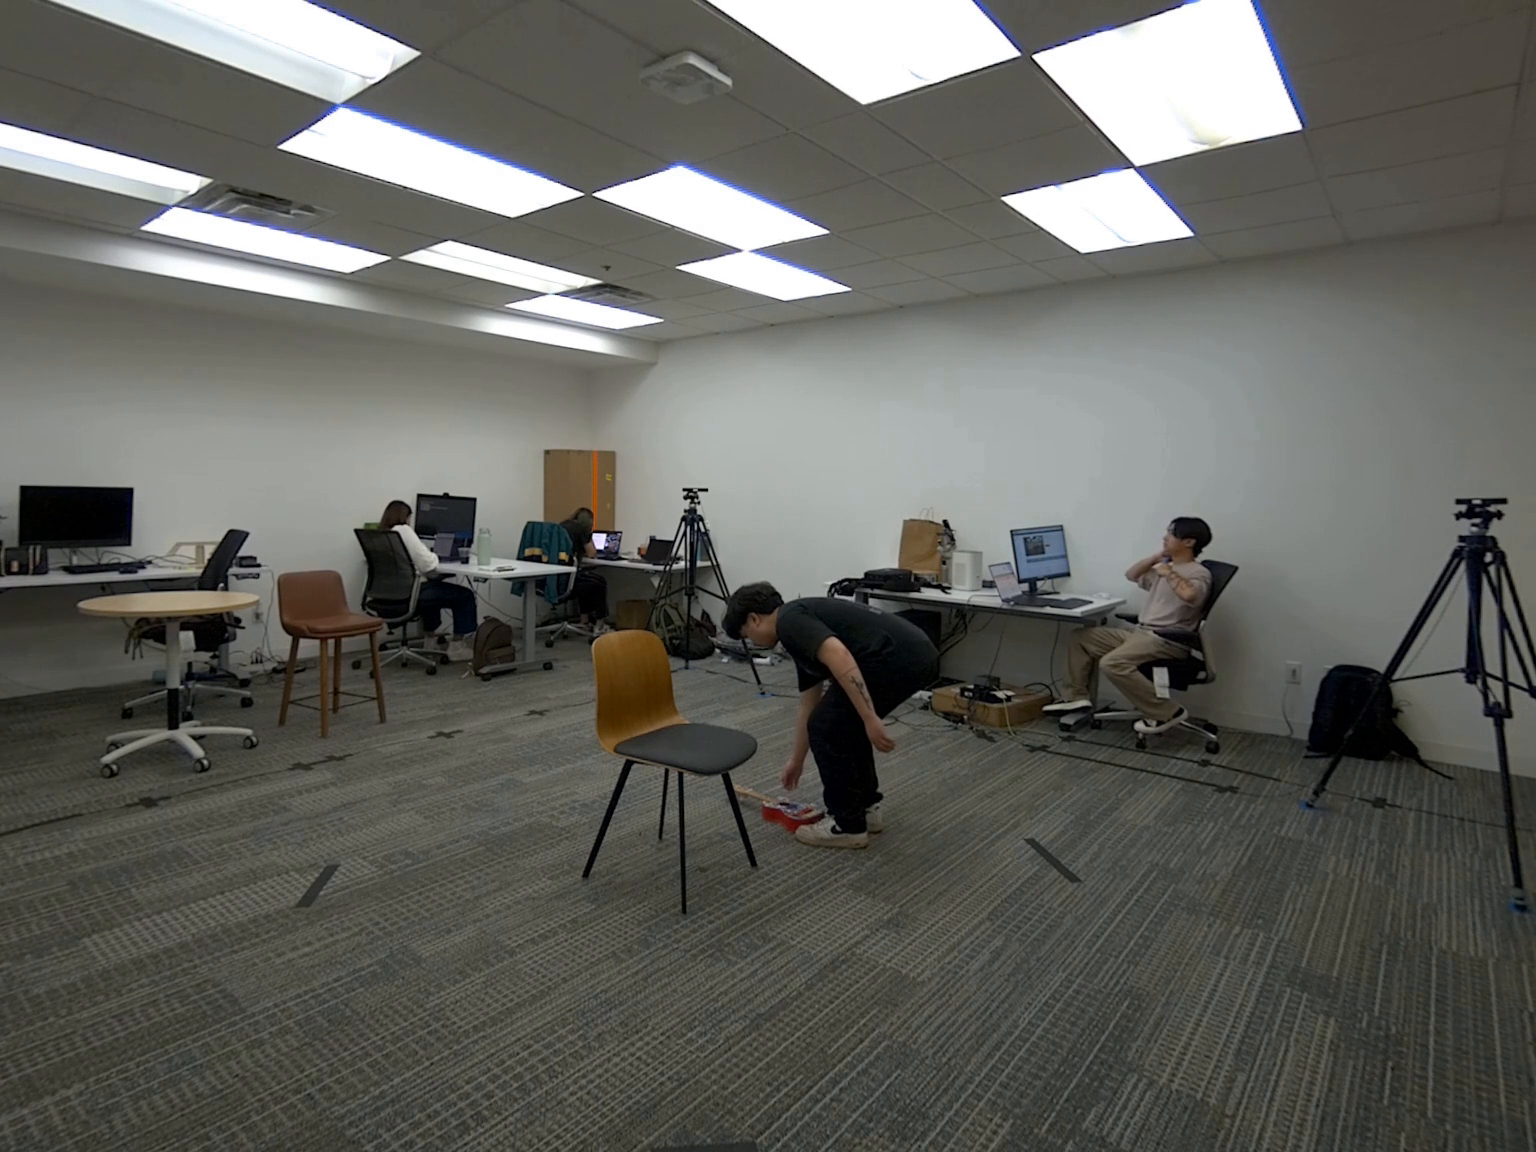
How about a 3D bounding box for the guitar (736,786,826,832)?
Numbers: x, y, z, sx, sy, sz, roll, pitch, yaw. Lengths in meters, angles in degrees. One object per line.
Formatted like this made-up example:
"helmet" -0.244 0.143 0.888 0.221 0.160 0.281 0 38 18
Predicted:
"guitar" 0.025 0.985 3.688 0.187 0.070 0.515 -5 8 -39
